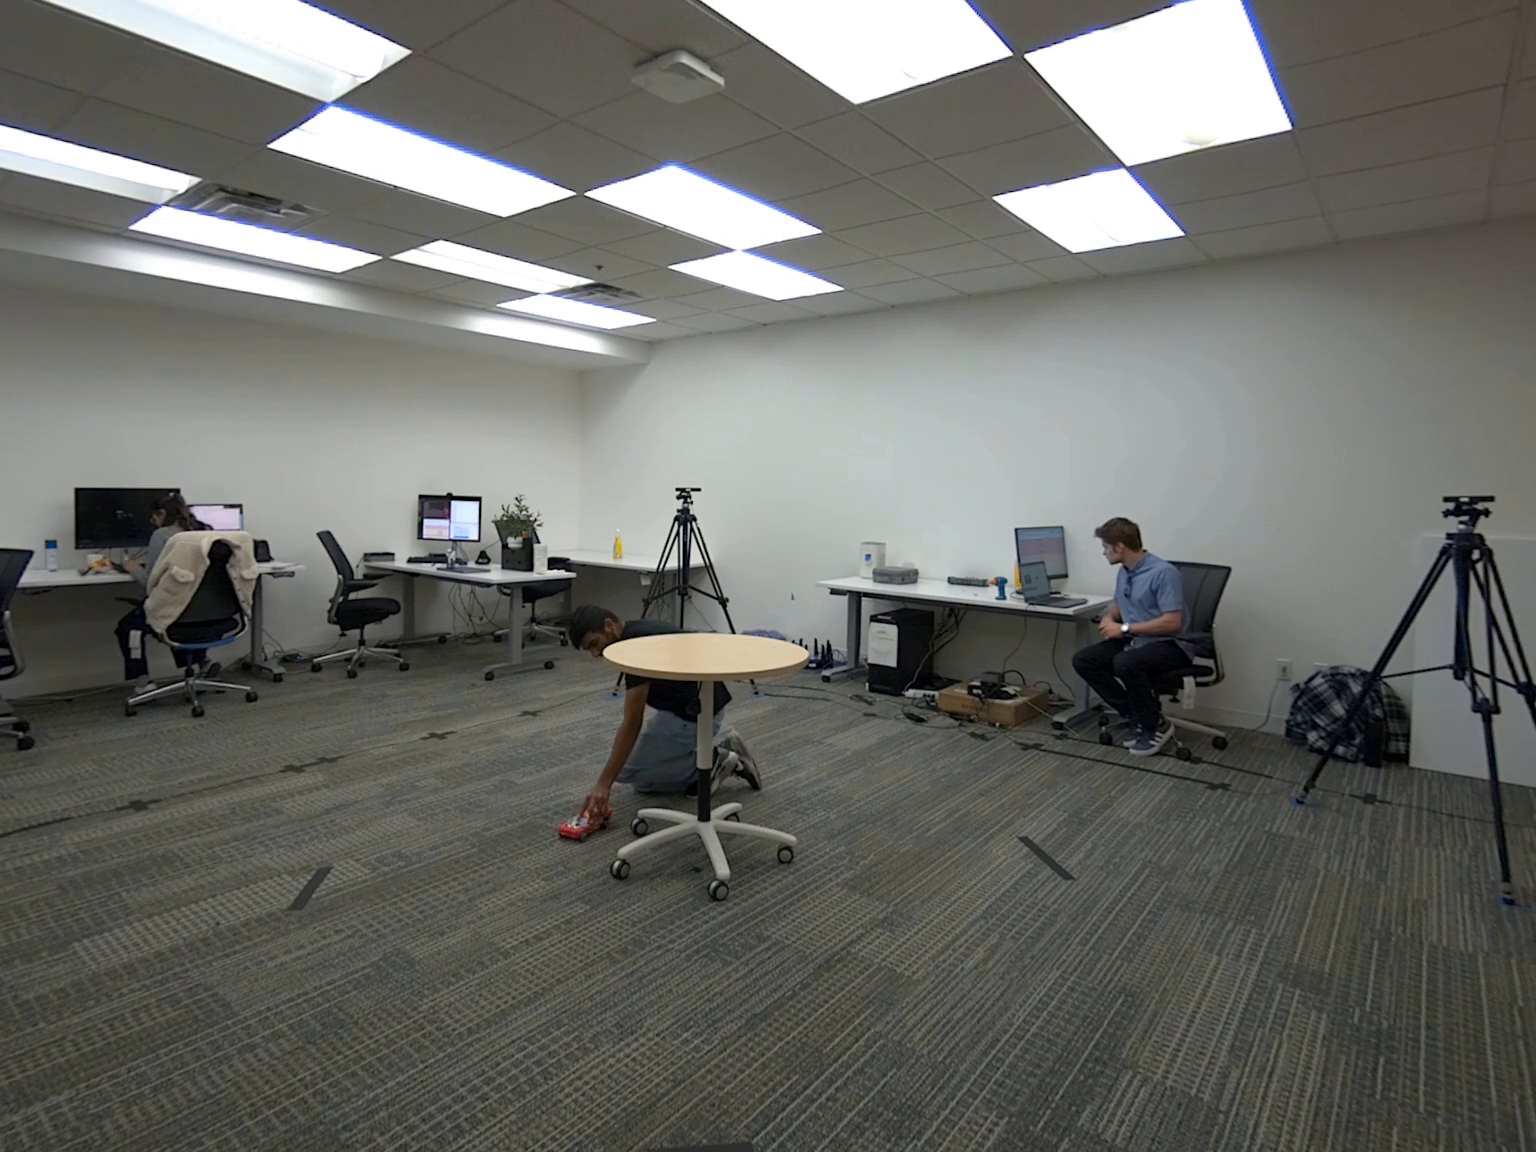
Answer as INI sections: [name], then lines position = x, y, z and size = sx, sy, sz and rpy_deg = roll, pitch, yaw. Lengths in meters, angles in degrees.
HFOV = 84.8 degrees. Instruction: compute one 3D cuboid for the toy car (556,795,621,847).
[toy car]
position = -0.734, 0.990, 3.441
size = 0.133, 0.082, 0.251
rpy_deg = 1, 15, 24
